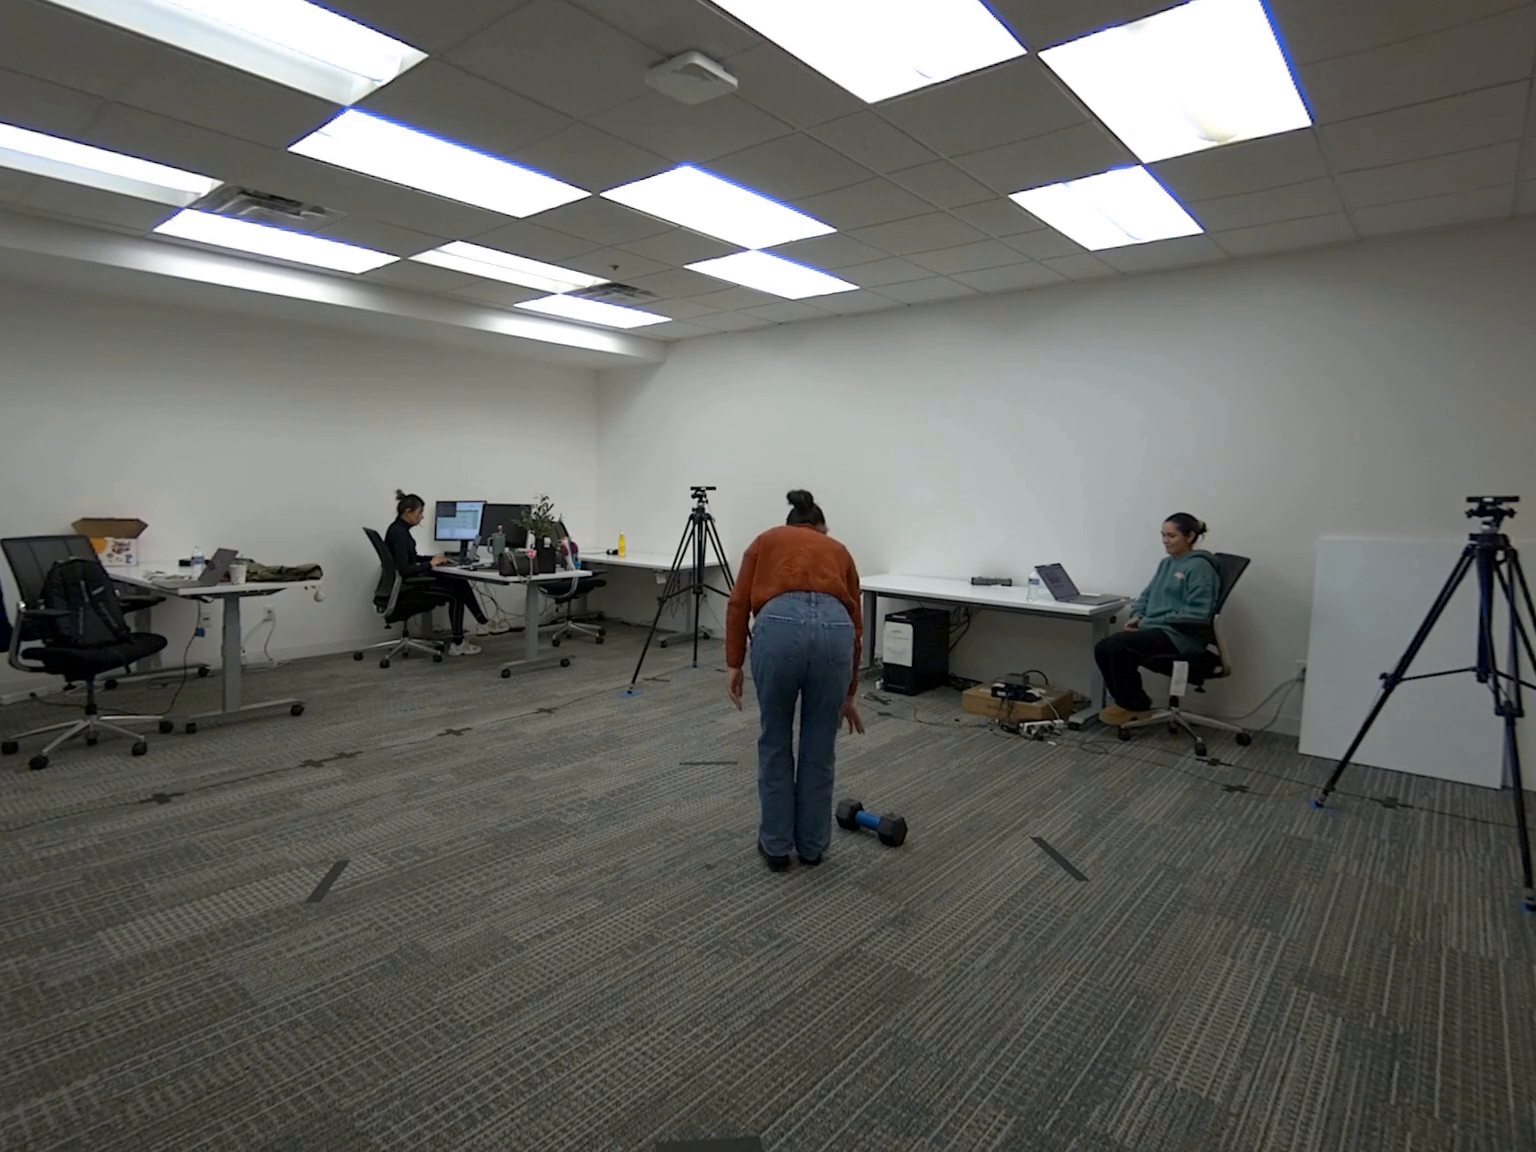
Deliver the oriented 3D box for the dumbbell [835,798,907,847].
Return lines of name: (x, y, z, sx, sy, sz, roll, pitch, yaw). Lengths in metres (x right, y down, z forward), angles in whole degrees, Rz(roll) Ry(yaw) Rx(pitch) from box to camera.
dumbbell: (0.409, 0.991, 3.441, 0.304, 0.119, 0.108, 7, 38, 45)
